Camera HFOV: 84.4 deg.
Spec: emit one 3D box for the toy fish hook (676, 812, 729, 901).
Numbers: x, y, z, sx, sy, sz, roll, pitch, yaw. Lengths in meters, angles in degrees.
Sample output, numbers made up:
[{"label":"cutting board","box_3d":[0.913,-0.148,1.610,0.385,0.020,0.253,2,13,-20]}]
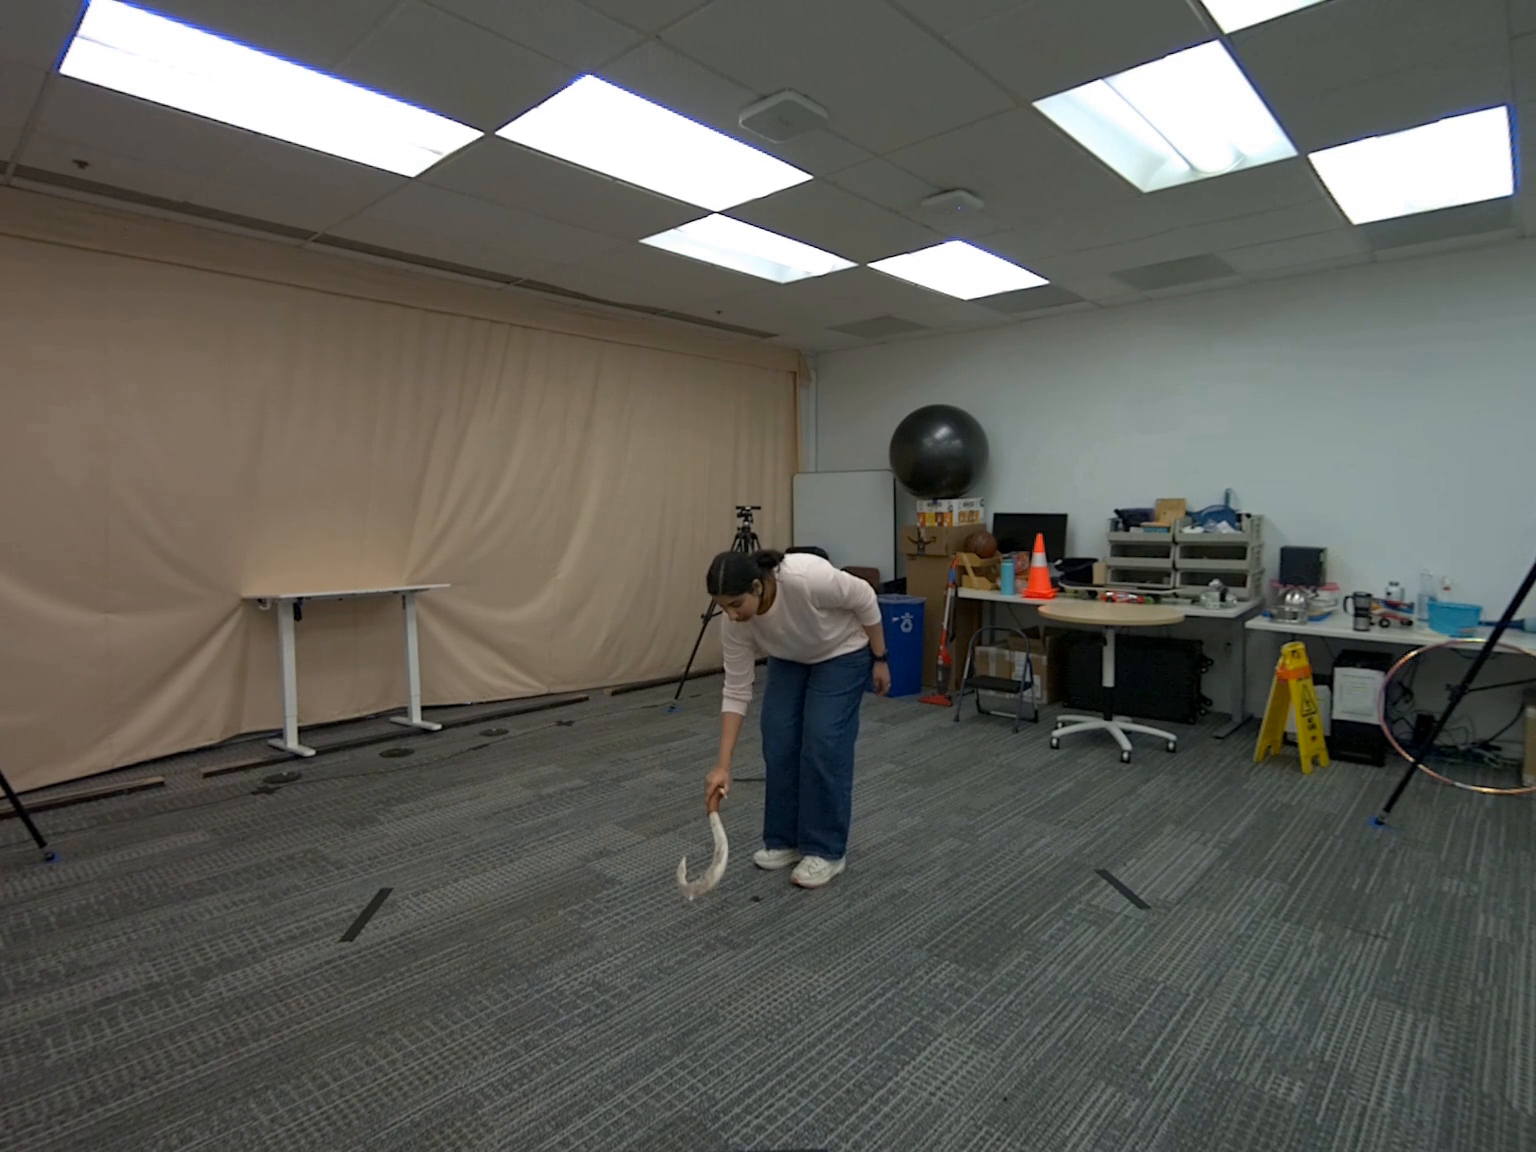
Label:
[{"label":"toy fish hook","box_3d":[-0.223,0.878,2.890,0.226,0.047,0.515,-35,24,16]}]
